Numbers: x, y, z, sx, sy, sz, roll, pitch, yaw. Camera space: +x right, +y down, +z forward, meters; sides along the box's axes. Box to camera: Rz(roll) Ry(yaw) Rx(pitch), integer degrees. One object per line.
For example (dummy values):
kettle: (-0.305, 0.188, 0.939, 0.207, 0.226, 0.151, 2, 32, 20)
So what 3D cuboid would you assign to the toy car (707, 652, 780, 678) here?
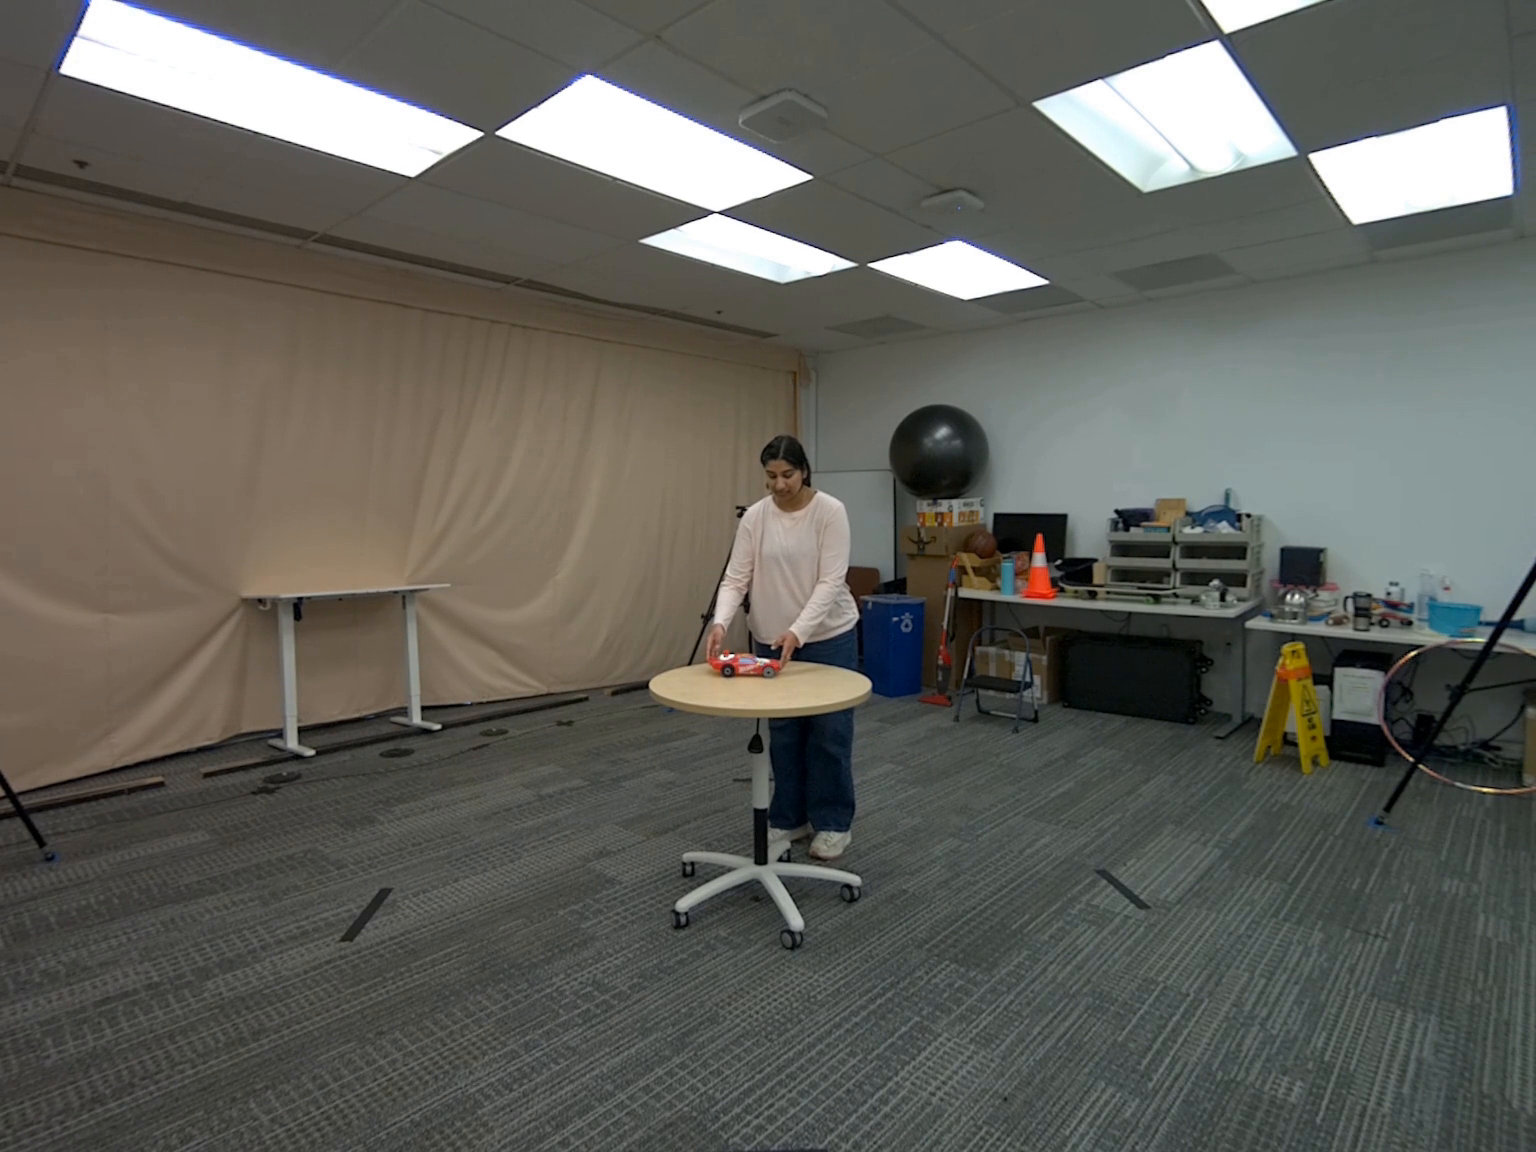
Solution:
toy car: (-0.086, 0.326, 3.032, 0.256, 0.083, 0.130, 11, 5, 4)
